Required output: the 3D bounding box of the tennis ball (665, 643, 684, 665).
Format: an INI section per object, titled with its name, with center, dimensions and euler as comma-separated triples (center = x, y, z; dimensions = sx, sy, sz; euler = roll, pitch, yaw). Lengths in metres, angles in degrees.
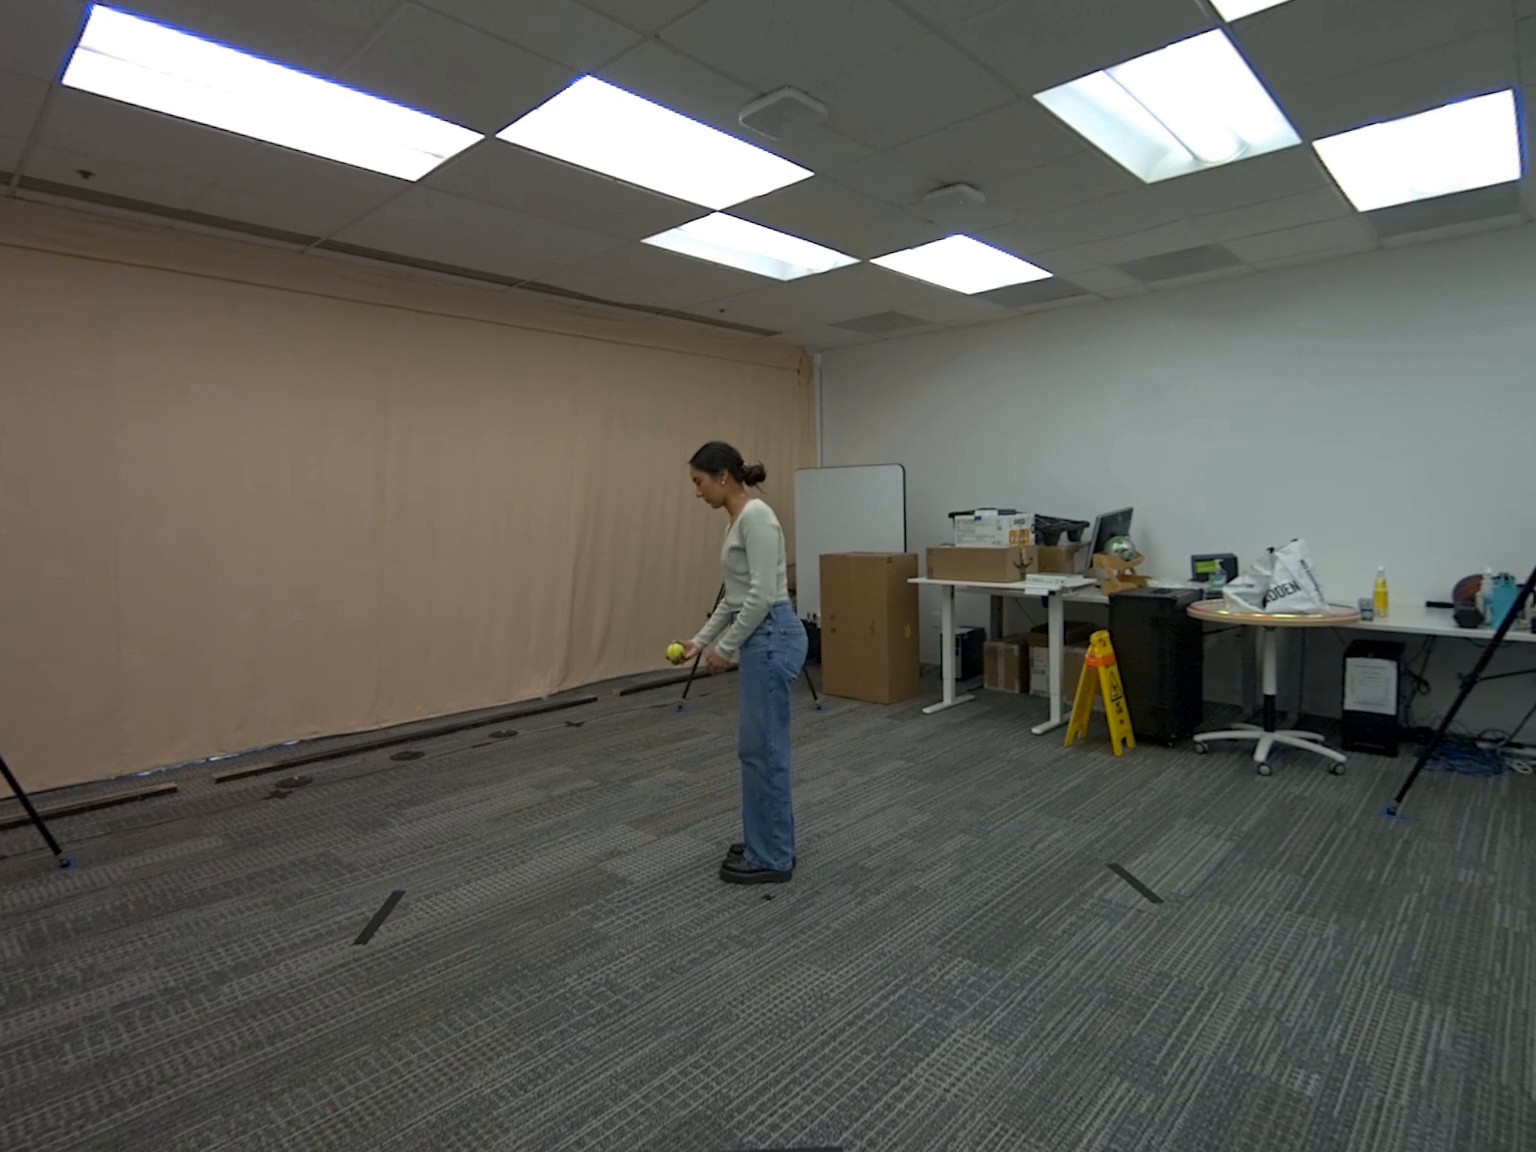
[tennis ball]
center = -0.344, 0.320, 3.234
dimensions = 0.066, 0.066, 0.067
euler = -1, 4, -2
